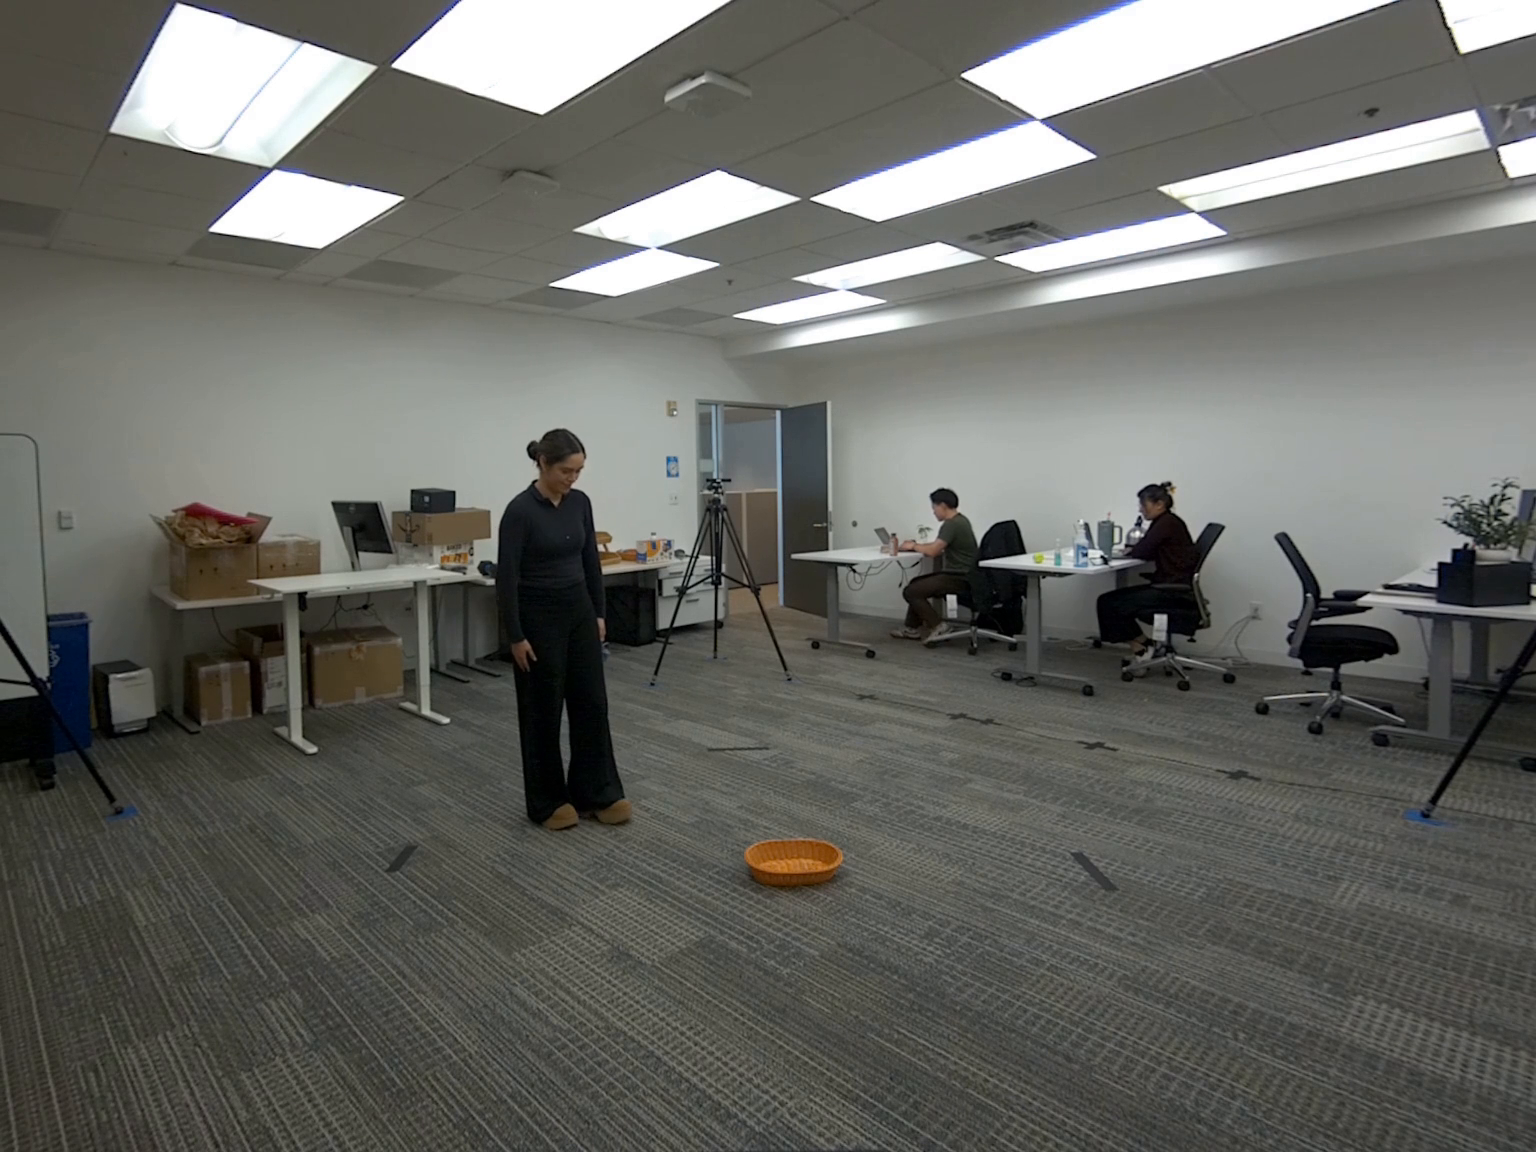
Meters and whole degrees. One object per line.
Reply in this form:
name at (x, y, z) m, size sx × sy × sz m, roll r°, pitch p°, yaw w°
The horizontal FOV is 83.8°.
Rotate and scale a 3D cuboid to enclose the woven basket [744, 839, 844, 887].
woven basket at (0.089, 1.014, 3.007) m, size 0.349 × 0.073 × 0.255 m, roll -1°, pitch 7°, yaw -5°
